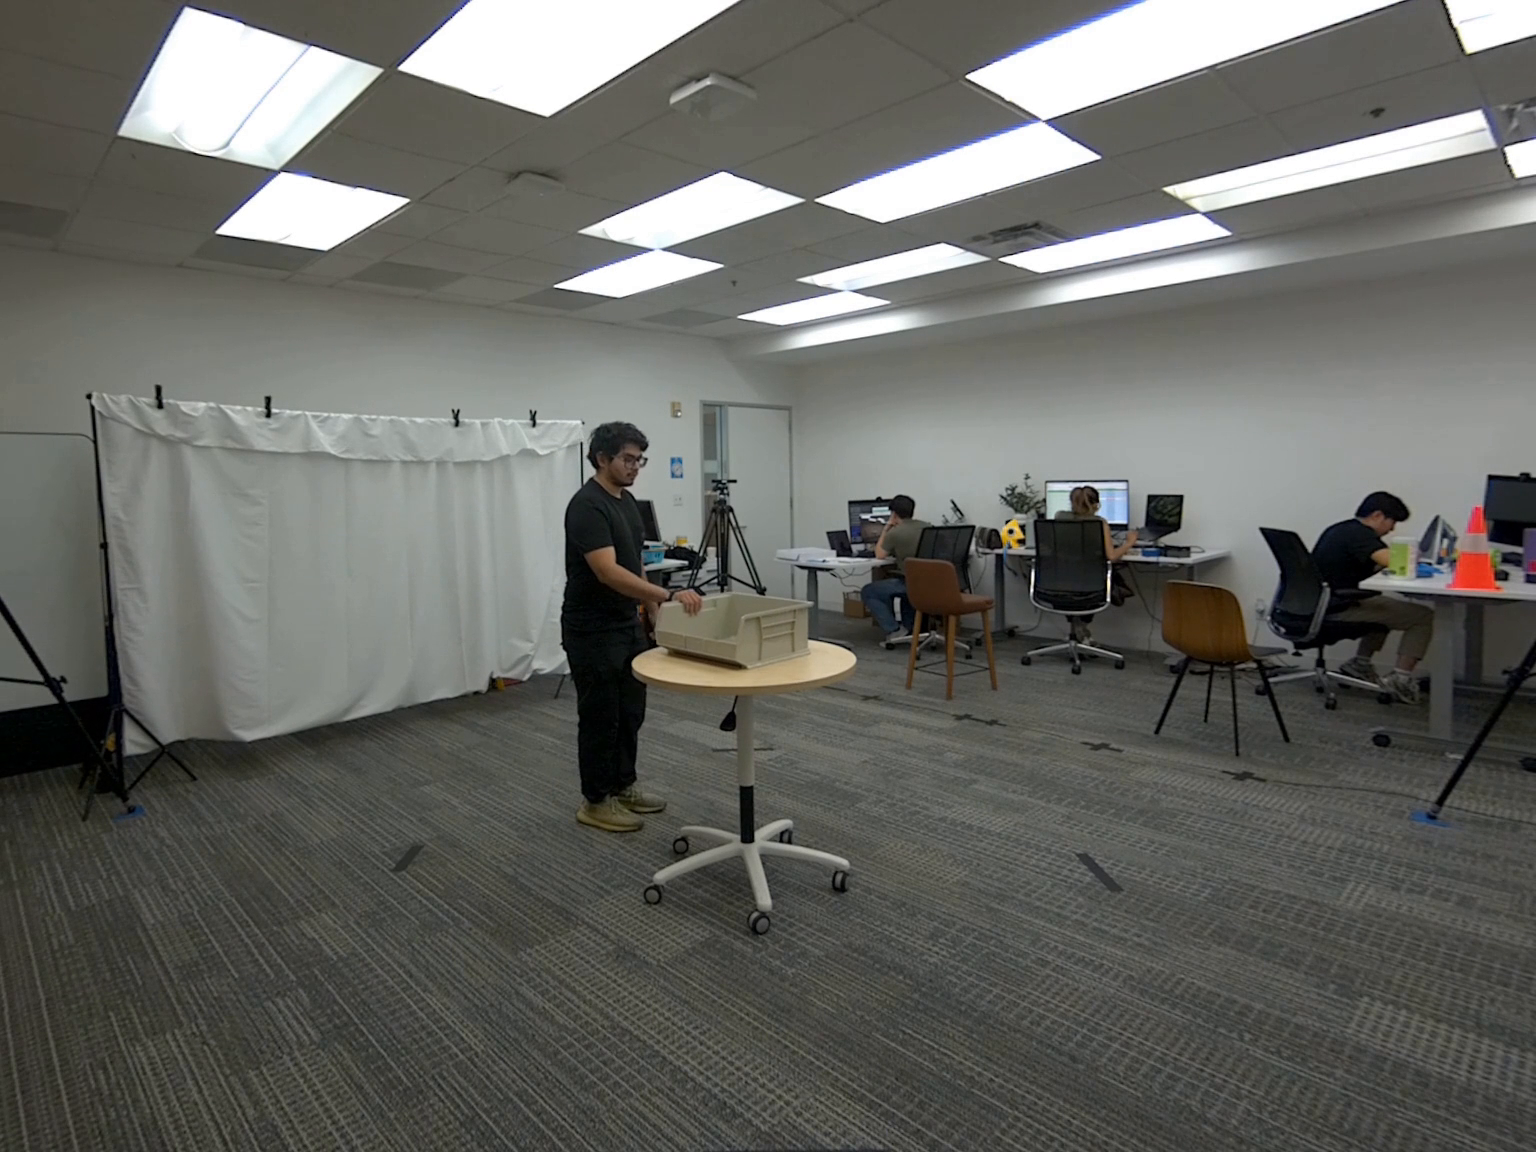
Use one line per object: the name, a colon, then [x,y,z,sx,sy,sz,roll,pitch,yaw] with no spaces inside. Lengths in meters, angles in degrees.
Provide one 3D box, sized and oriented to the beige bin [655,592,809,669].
beige bin: [-0.117,0.186,3.001,0.367,0.188,0.435,-5,7,-44]
